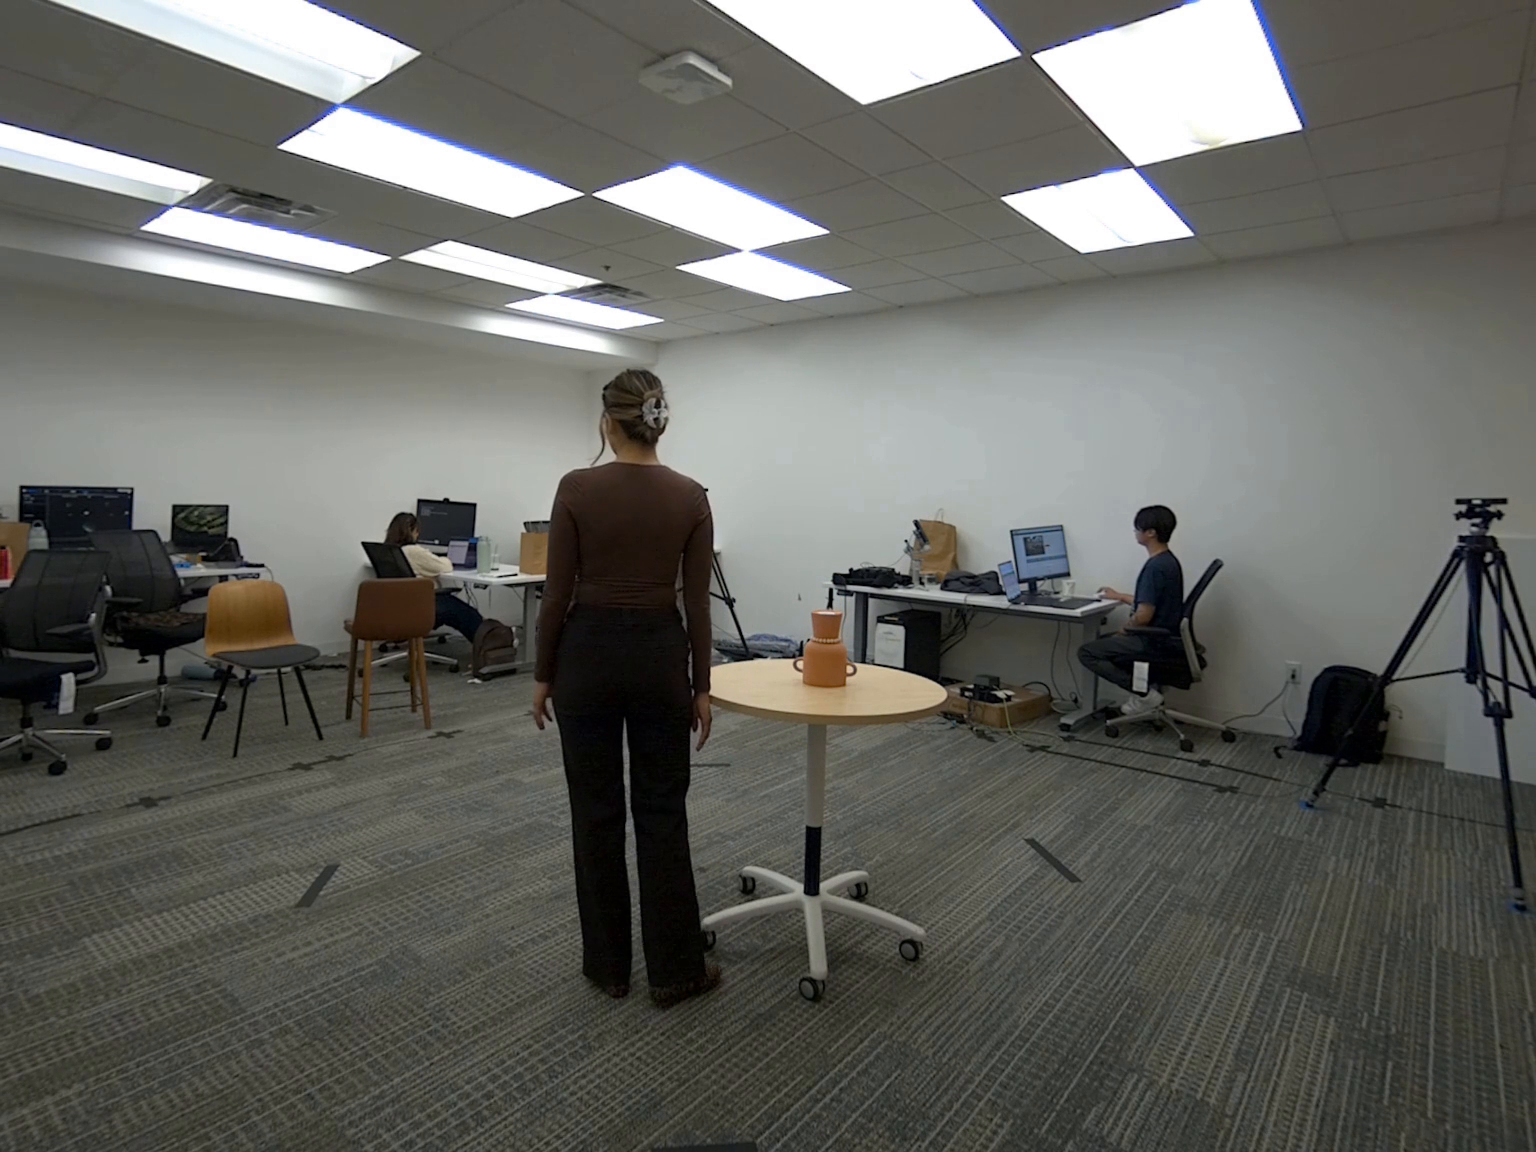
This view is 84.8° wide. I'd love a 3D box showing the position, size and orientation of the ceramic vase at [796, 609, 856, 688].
[{"bbox_3d":[0.173,0.218,2.624,0.155,0.219,0.138,0,4,-26],"label":"ceramic vase"}]
